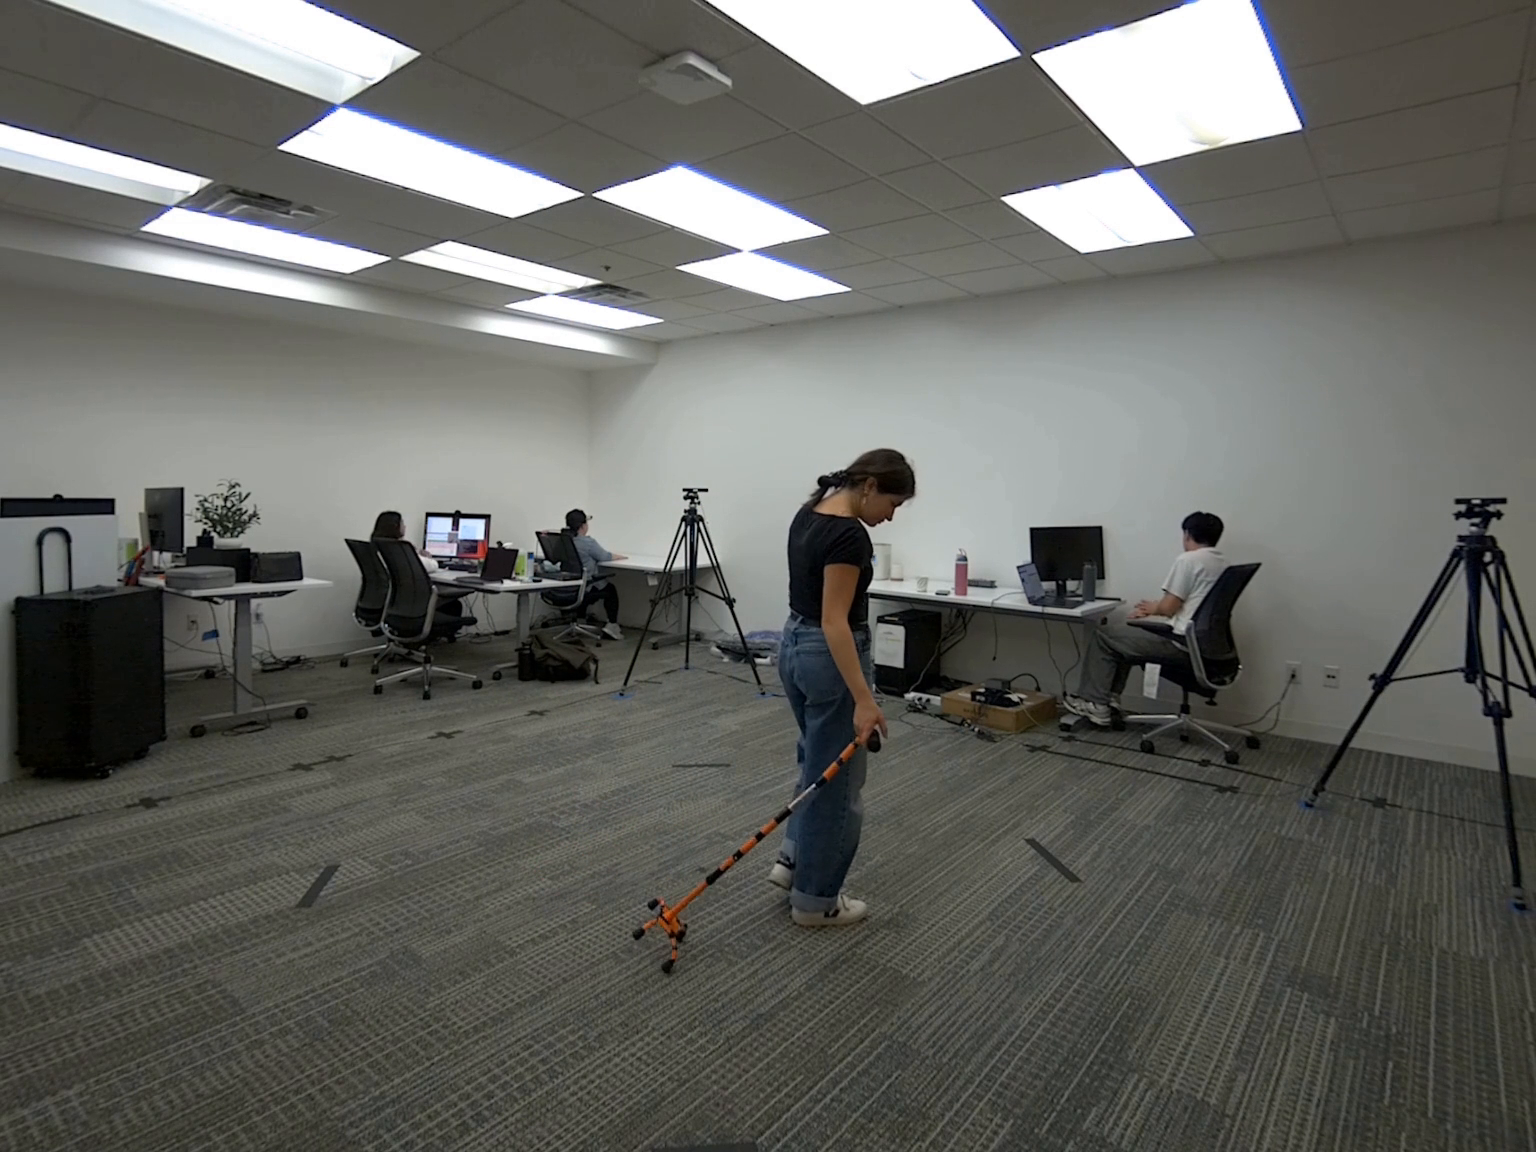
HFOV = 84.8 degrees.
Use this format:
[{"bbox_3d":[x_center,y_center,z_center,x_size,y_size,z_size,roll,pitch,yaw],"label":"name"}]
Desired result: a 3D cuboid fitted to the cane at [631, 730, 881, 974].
[{"bbox_3d":[-0.012,0.759,2.458,0.908,0.152,0.205,-44,-1,10],"label":"cane"}]
